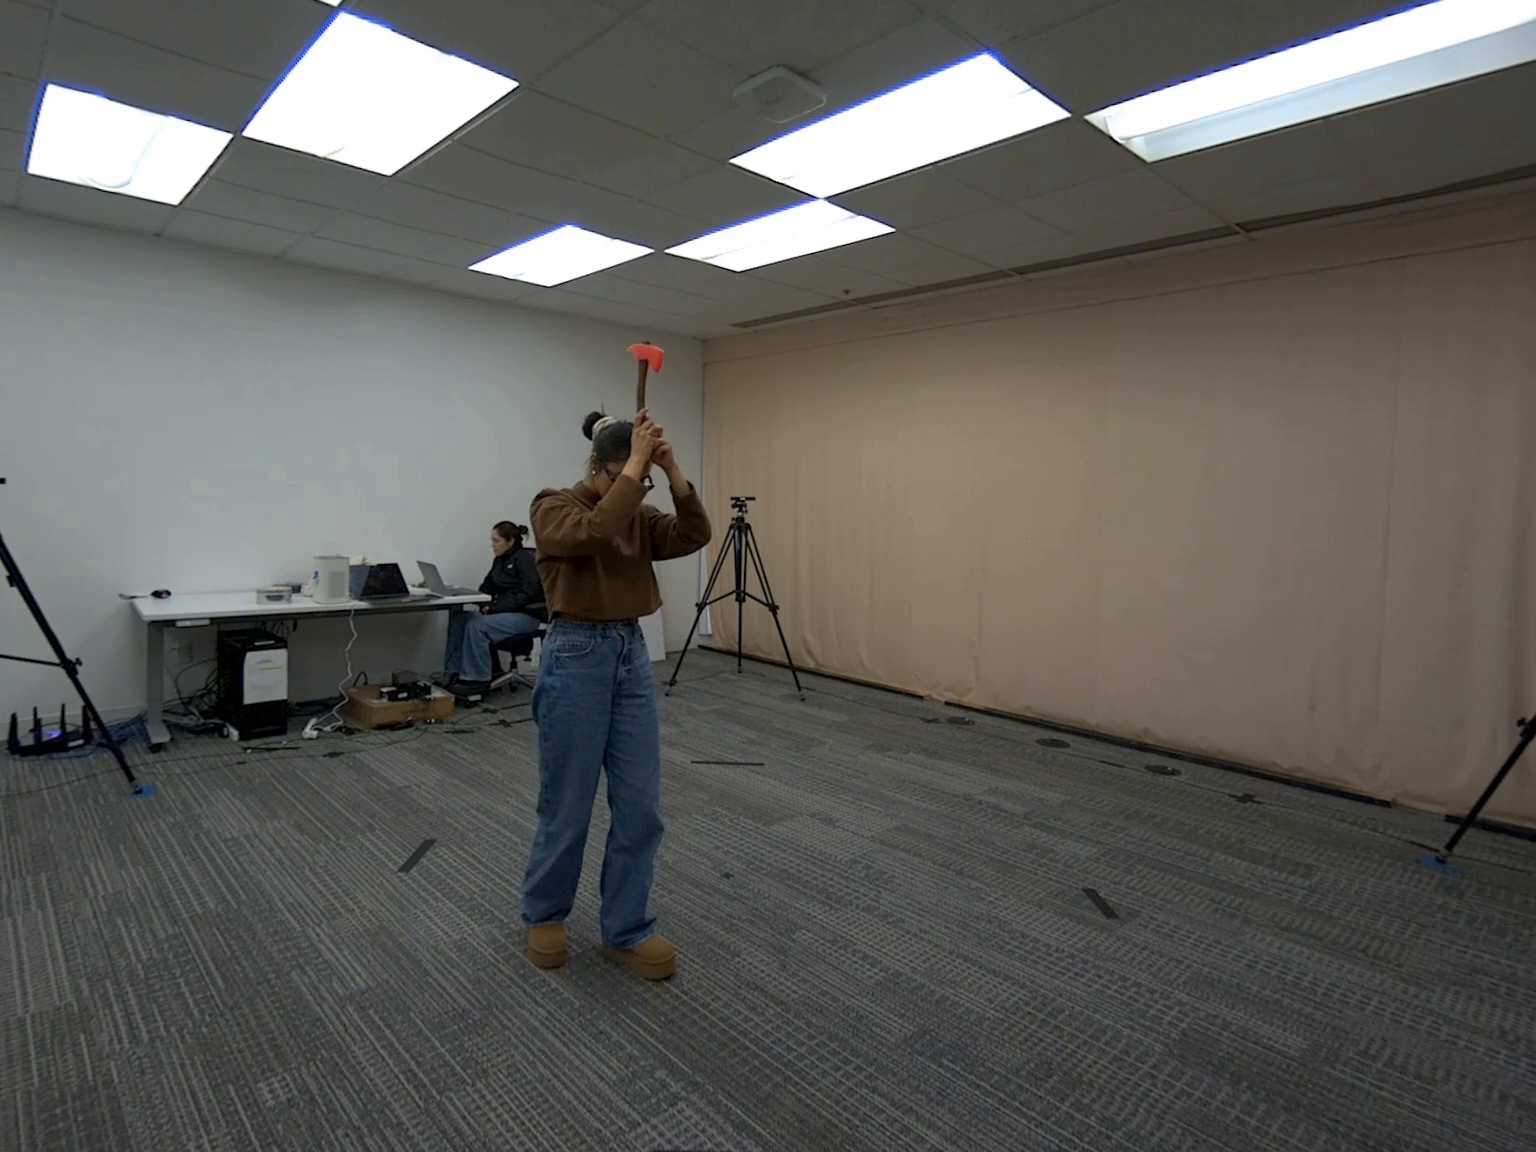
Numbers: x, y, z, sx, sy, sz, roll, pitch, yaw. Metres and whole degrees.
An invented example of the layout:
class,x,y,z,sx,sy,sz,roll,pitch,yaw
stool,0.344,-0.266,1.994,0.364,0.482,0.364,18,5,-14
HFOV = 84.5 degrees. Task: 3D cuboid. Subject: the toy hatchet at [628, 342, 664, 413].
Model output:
class,x,y,z,sx,sy,sz,roll,pitch,yaw
toy hatchet,-0.327,-0.512,2.299,0.134,0.269,0.029,-6,2,35
